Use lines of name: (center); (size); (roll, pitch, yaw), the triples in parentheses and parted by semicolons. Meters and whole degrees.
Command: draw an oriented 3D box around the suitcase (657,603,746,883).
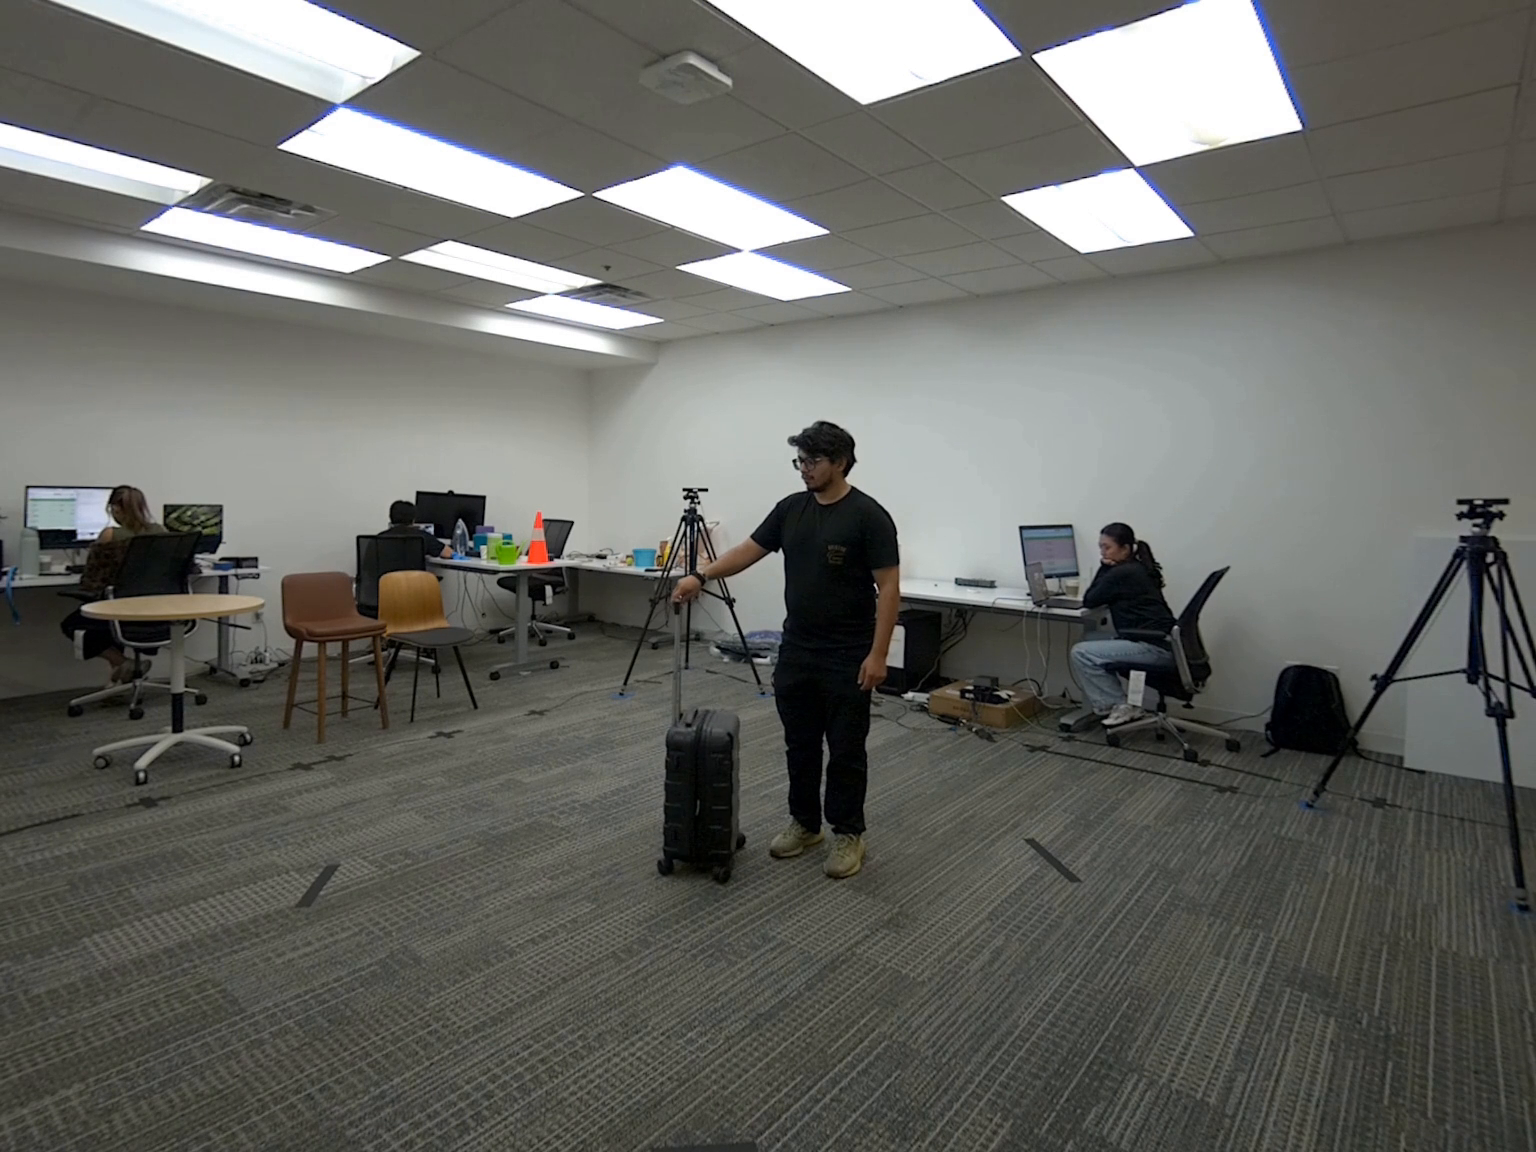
suitcase: (-0.243, 0.589, 3.164); (0.259, 0.974, 0.383); (2, 4, 5)
